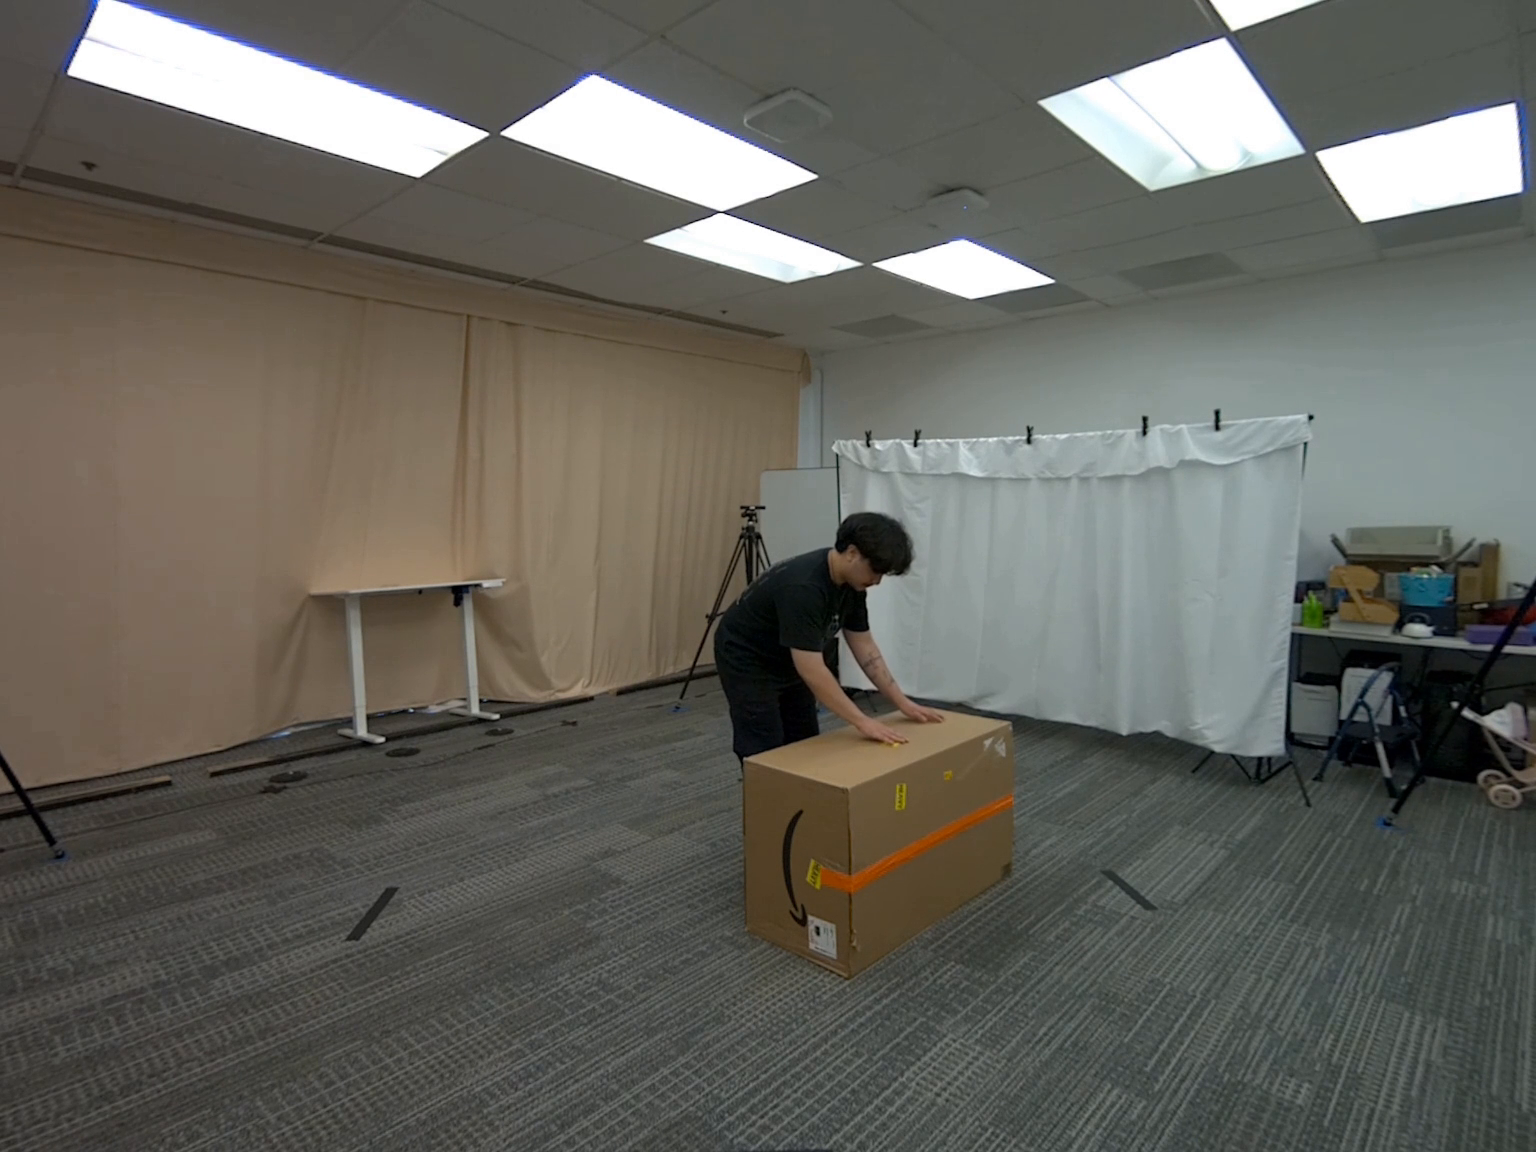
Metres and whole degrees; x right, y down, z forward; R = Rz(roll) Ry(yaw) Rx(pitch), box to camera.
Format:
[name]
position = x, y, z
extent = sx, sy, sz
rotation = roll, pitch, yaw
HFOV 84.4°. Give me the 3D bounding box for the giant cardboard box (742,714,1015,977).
[giant cardboard box]
position = 0.428, 0.861, 2.954
extent = 0.462, 0.582, 0.996
rotation = 4, 7, 43
